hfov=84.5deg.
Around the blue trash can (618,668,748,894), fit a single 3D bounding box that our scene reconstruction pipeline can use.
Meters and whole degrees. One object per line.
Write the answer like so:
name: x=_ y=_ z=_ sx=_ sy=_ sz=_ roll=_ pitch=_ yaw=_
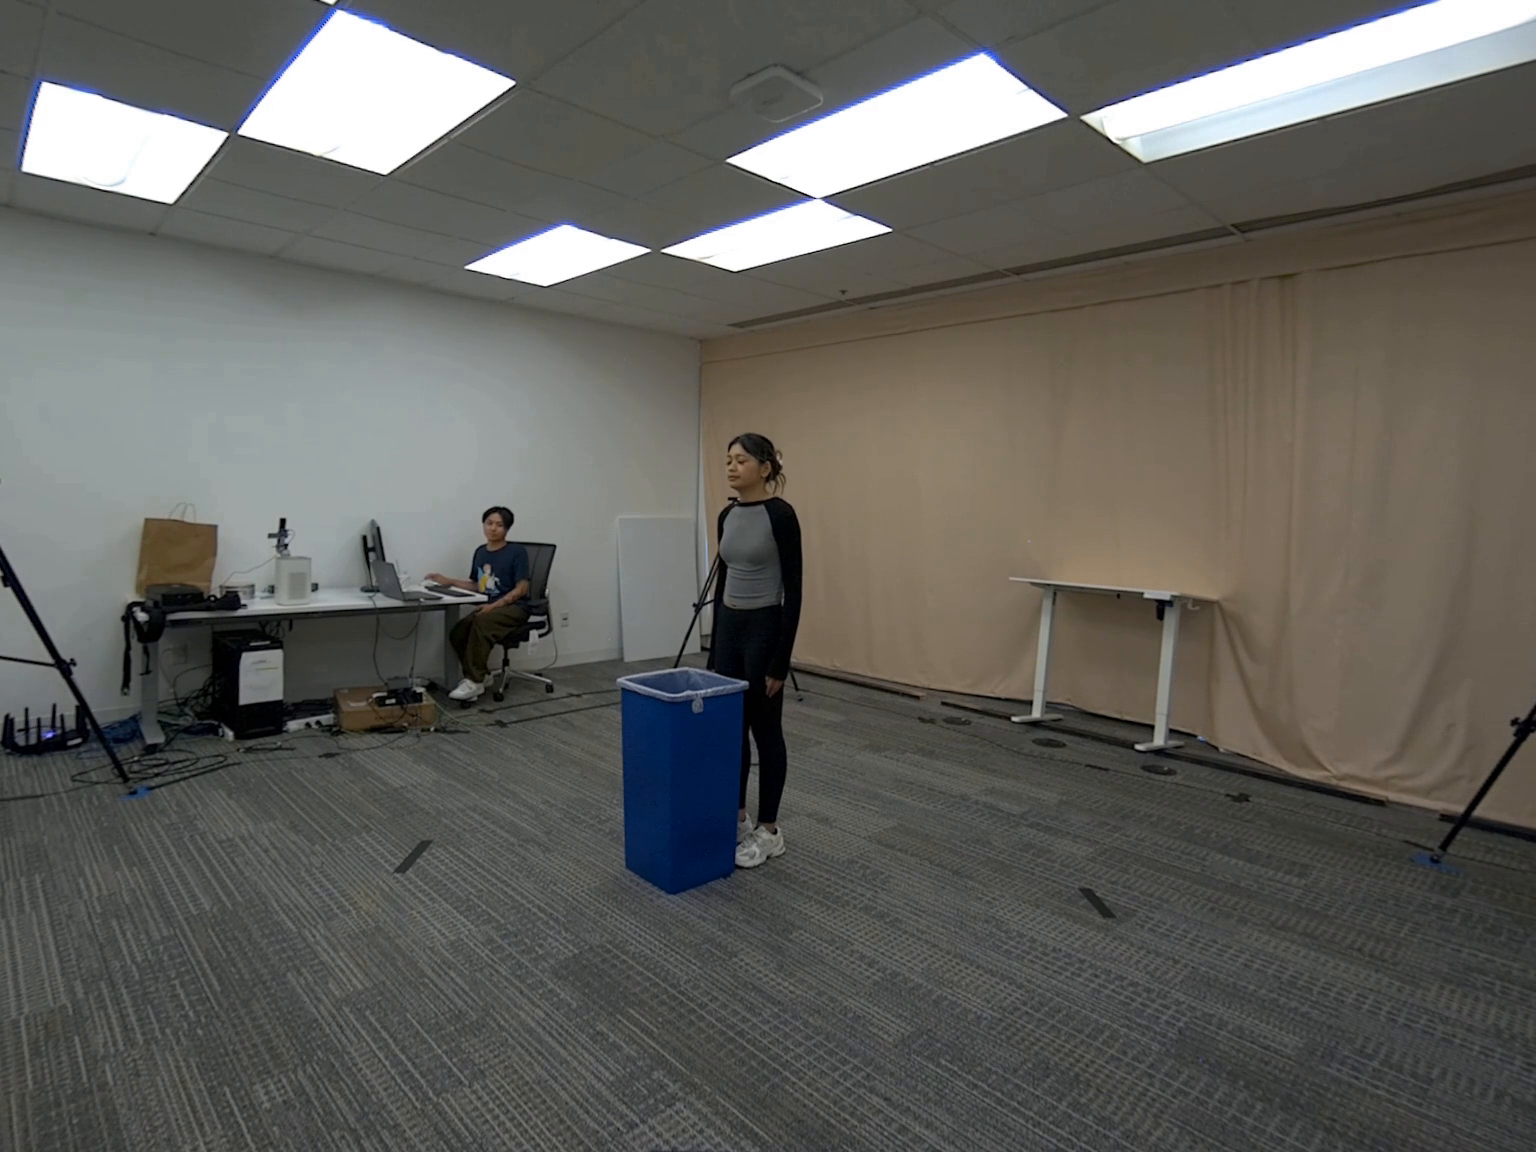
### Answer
blue trash can: x=-0.336 y=0.744 z=3.132 sx=0.369 sy=0.712 sz=0.383 roll=-2 pitch=5 yaw=-43
